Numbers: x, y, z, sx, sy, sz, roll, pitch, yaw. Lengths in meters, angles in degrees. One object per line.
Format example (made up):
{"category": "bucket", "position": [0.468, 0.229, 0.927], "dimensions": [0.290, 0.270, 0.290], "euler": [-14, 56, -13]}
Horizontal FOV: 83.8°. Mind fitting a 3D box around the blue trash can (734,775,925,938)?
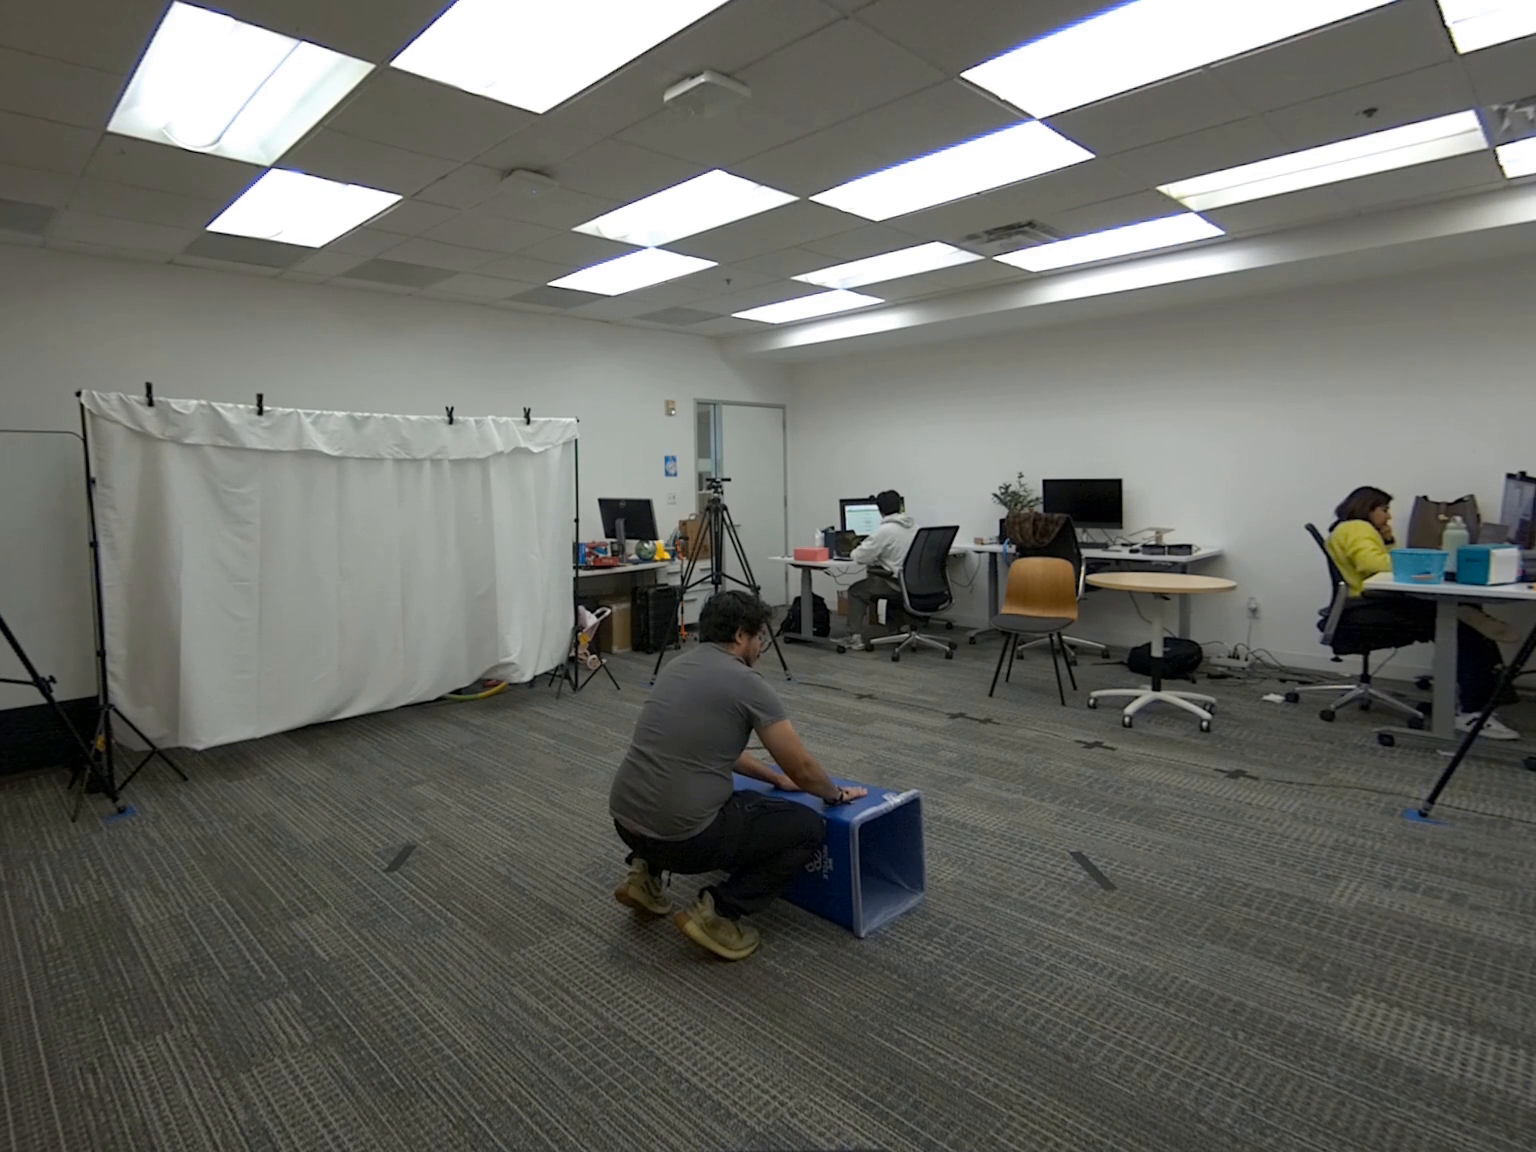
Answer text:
{"category": "blue trash can", "position": [0.139, 0.890, 2.952], "dimensions": [0.364, 0.377, 0.734], "euler": [-6, 5, -44]}
